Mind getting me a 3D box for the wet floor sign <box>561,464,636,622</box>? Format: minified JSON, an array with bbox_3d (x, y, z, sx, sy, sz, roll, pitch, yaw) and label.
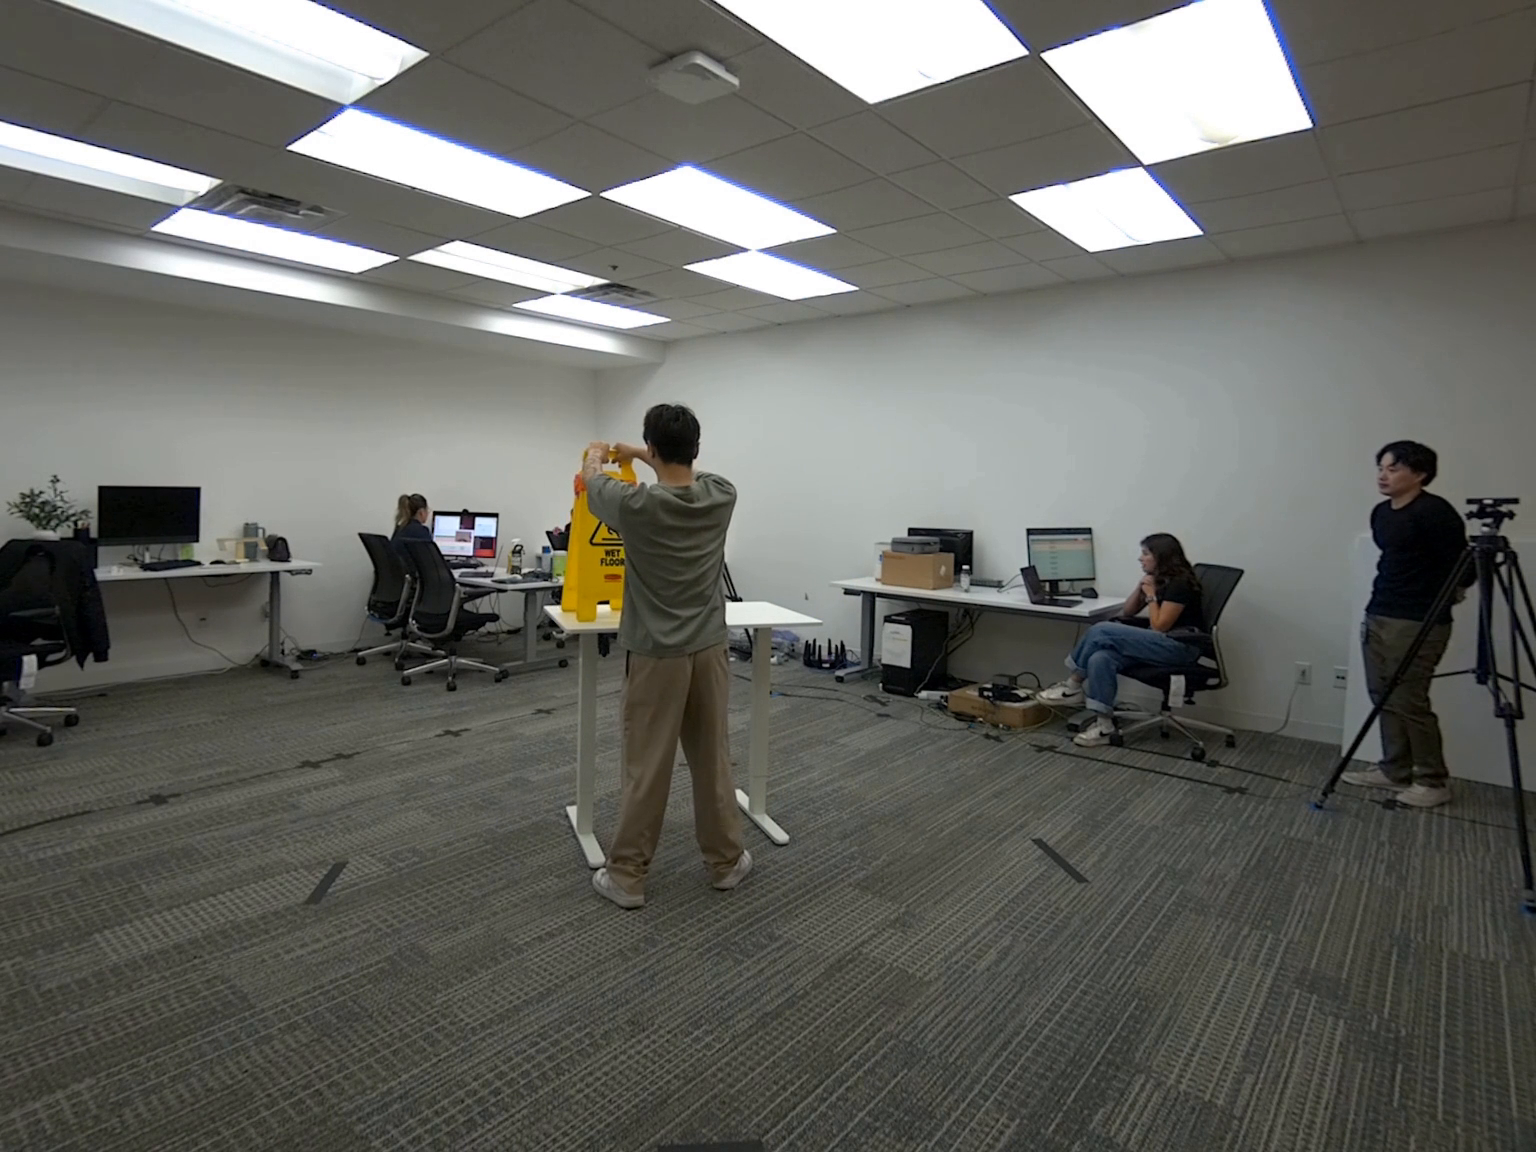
[{"bbox_3d":[-0.648,-0.170,3.325,0.275,0.645,0.297,2,2,-25],"label":"wet floor sign"}]
